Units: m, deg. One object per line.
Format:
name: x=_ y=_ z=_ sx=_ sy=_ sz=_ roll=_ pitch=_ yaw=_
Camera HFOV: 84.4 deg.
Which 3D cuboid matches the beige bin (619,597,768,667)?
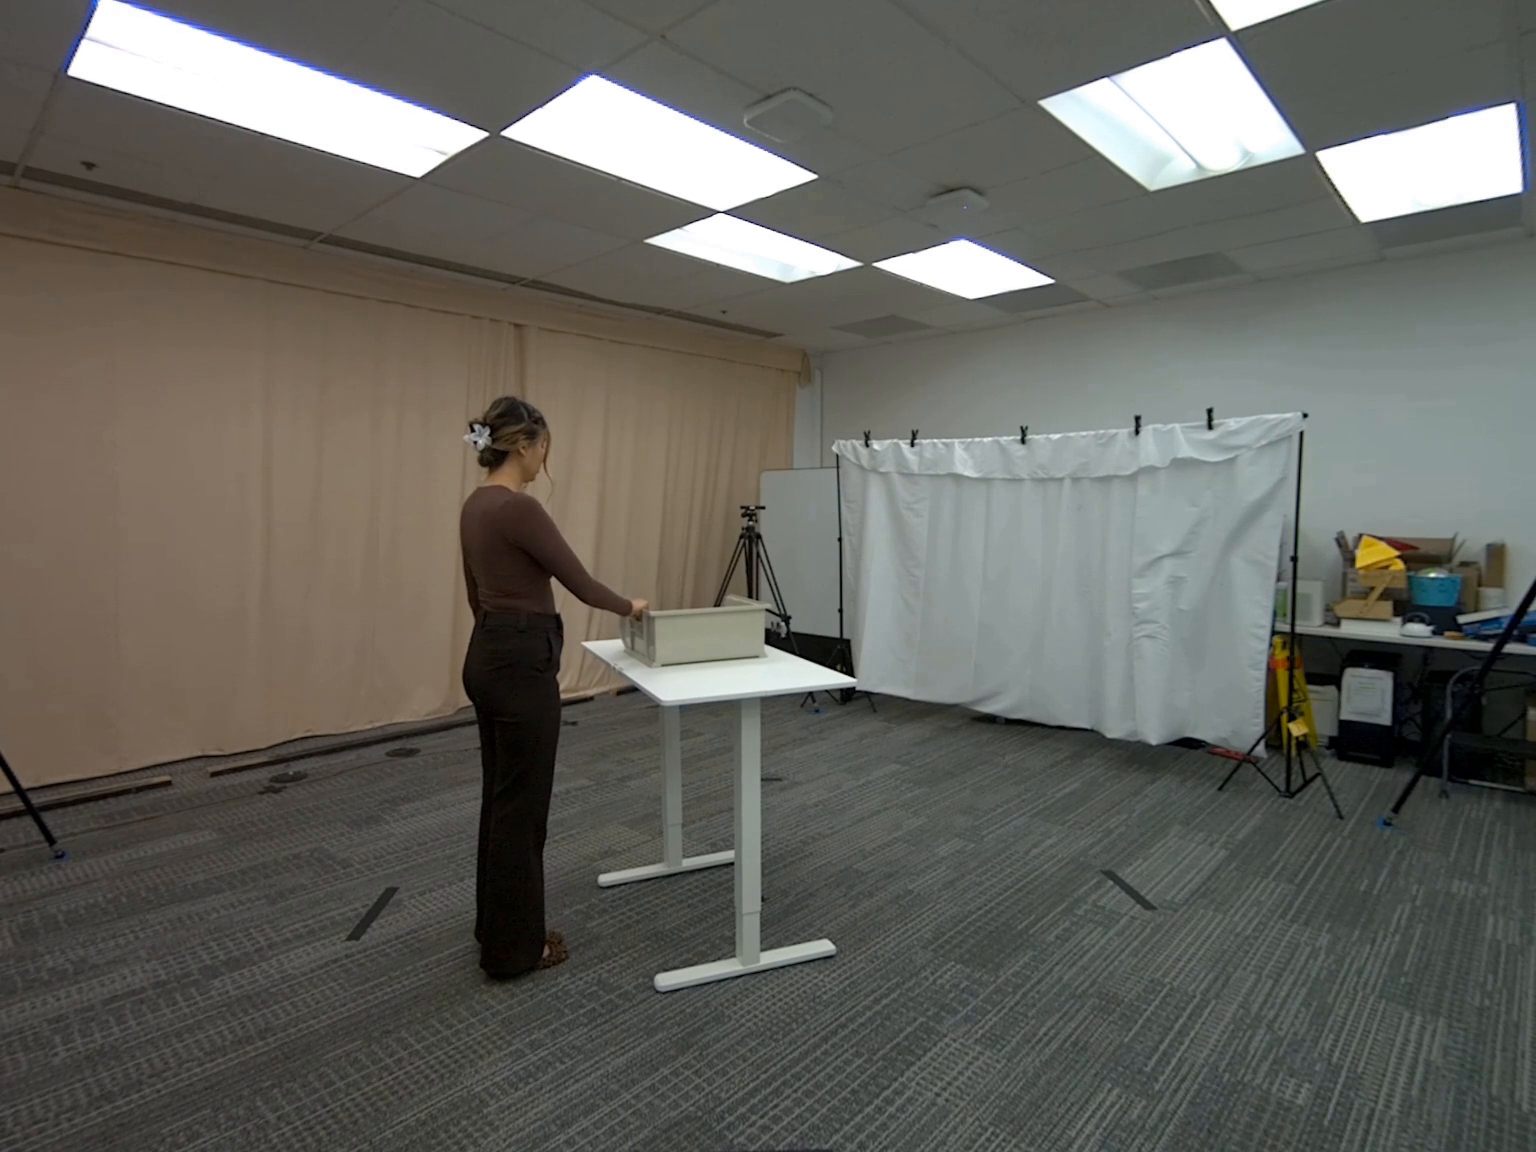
beige bin: x=-0.262 y=0.180 z=2.897 sx=0.413 sy=0.188 sz=0.387 roll=-2 pitch=6 yaw=-24
